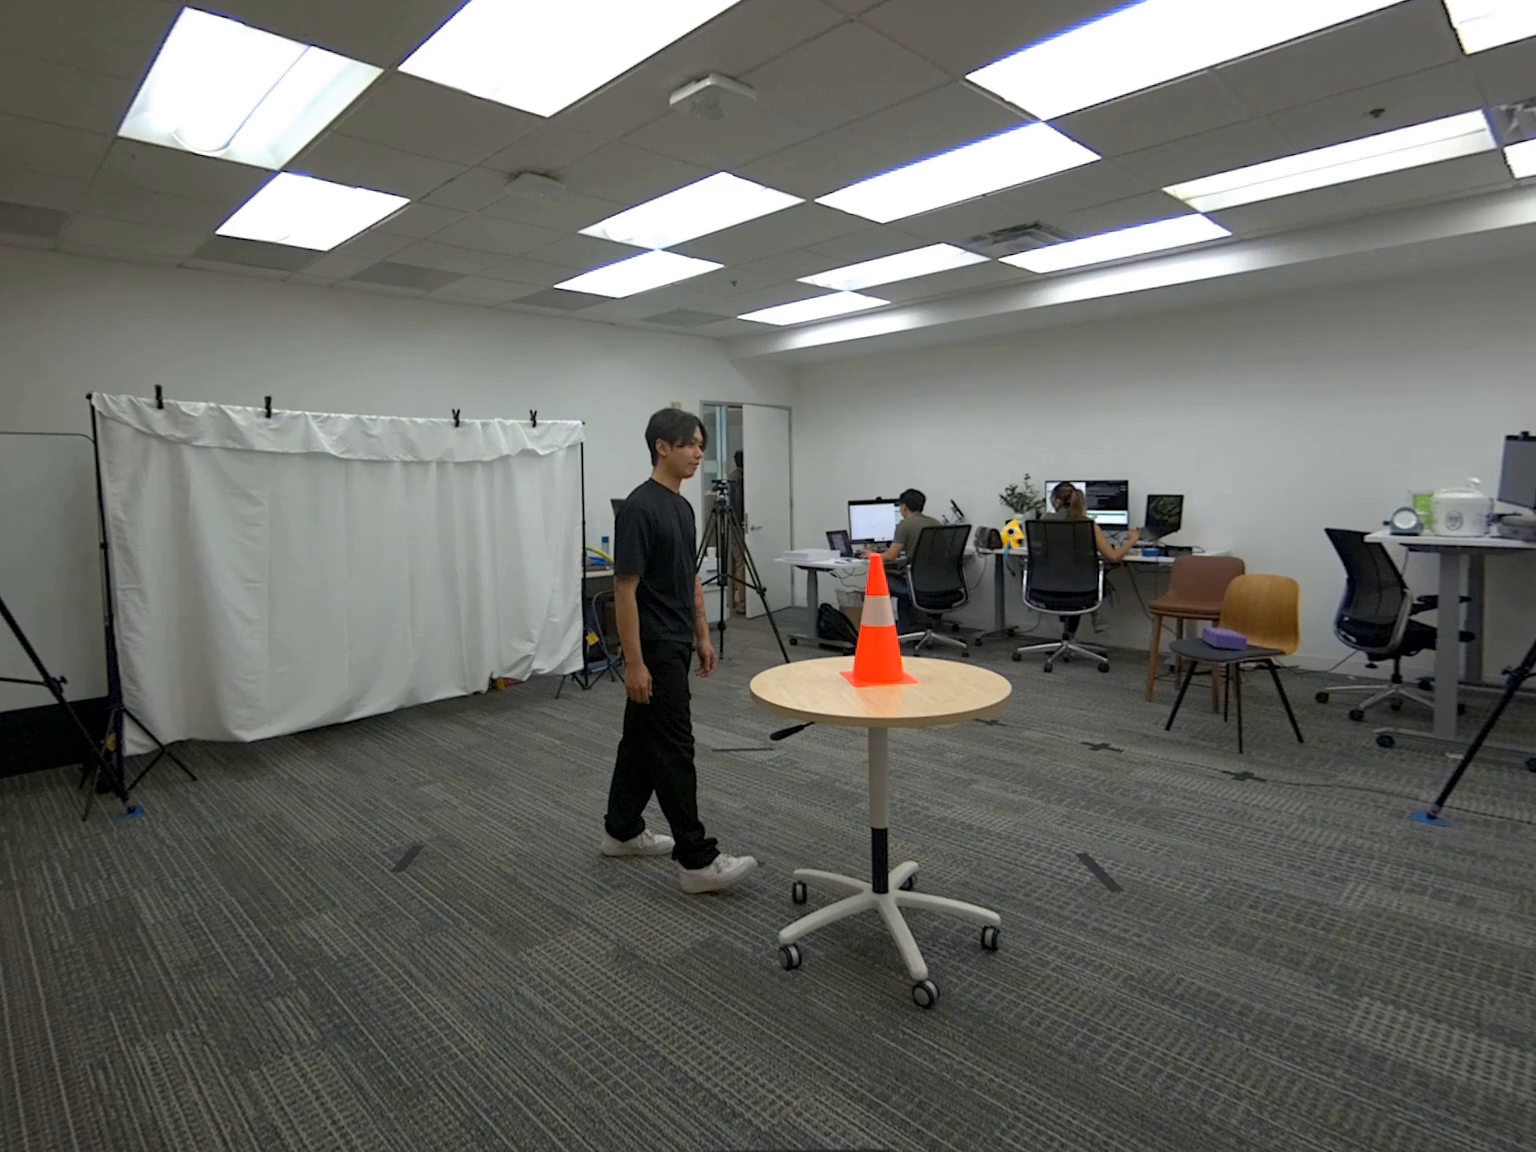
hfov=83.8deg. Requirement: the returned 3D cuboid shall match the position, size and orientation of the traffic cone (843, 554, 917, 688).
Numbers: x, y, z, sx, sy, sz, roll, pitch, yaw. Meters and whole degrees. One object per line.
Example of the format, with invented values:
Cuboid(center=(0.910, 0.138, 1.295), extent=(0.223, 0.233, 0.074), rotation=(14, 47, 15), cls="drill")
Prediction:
Cuboid(center=(0.339, 0.128, 2.607), extent=(0.203, 0.382, 0.206), rotation=(-5, 4, -12), cls="traffic cone")
